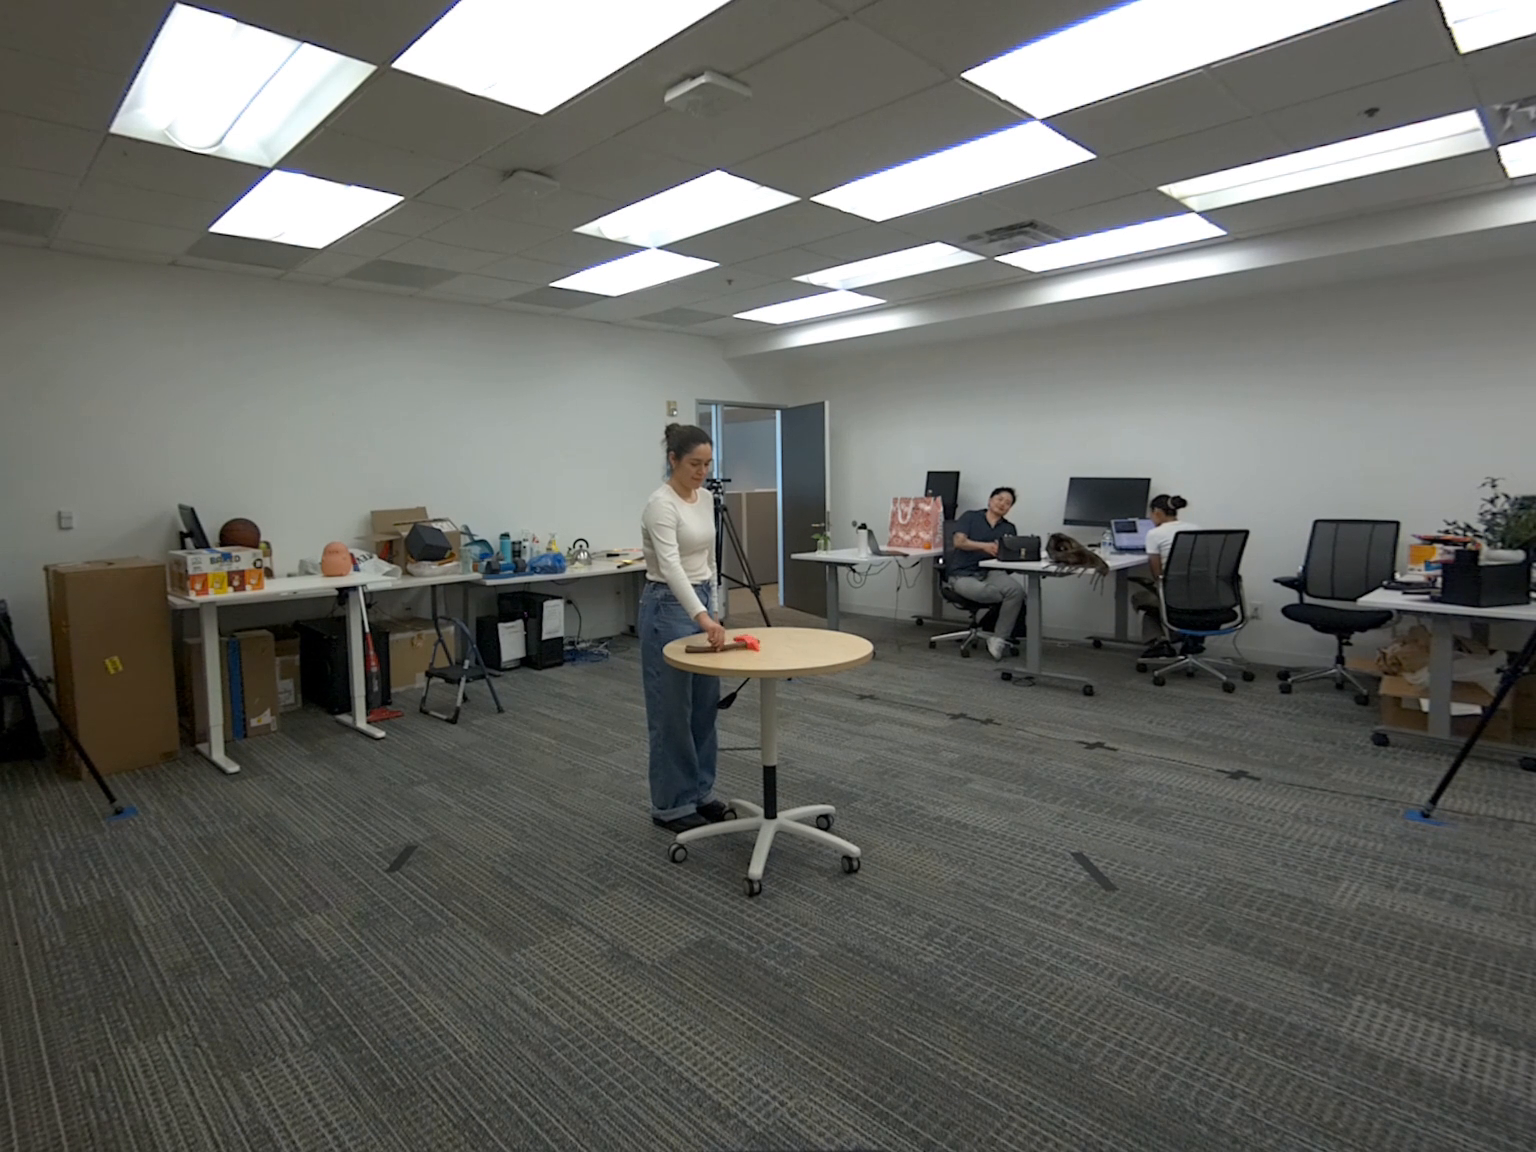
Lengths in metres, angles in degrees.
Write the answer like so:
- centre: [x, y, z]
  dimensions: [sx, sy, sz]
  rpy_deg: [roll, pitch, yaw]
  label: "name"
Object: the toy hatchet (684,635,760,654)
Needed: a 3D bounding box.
- centre: [-0.165, 0.248, 3.087]
  dimensions: [0.272, 0.029, 0.132]
  rpy_deg: [2, 21, 6]
  label: "toy hatchet"
